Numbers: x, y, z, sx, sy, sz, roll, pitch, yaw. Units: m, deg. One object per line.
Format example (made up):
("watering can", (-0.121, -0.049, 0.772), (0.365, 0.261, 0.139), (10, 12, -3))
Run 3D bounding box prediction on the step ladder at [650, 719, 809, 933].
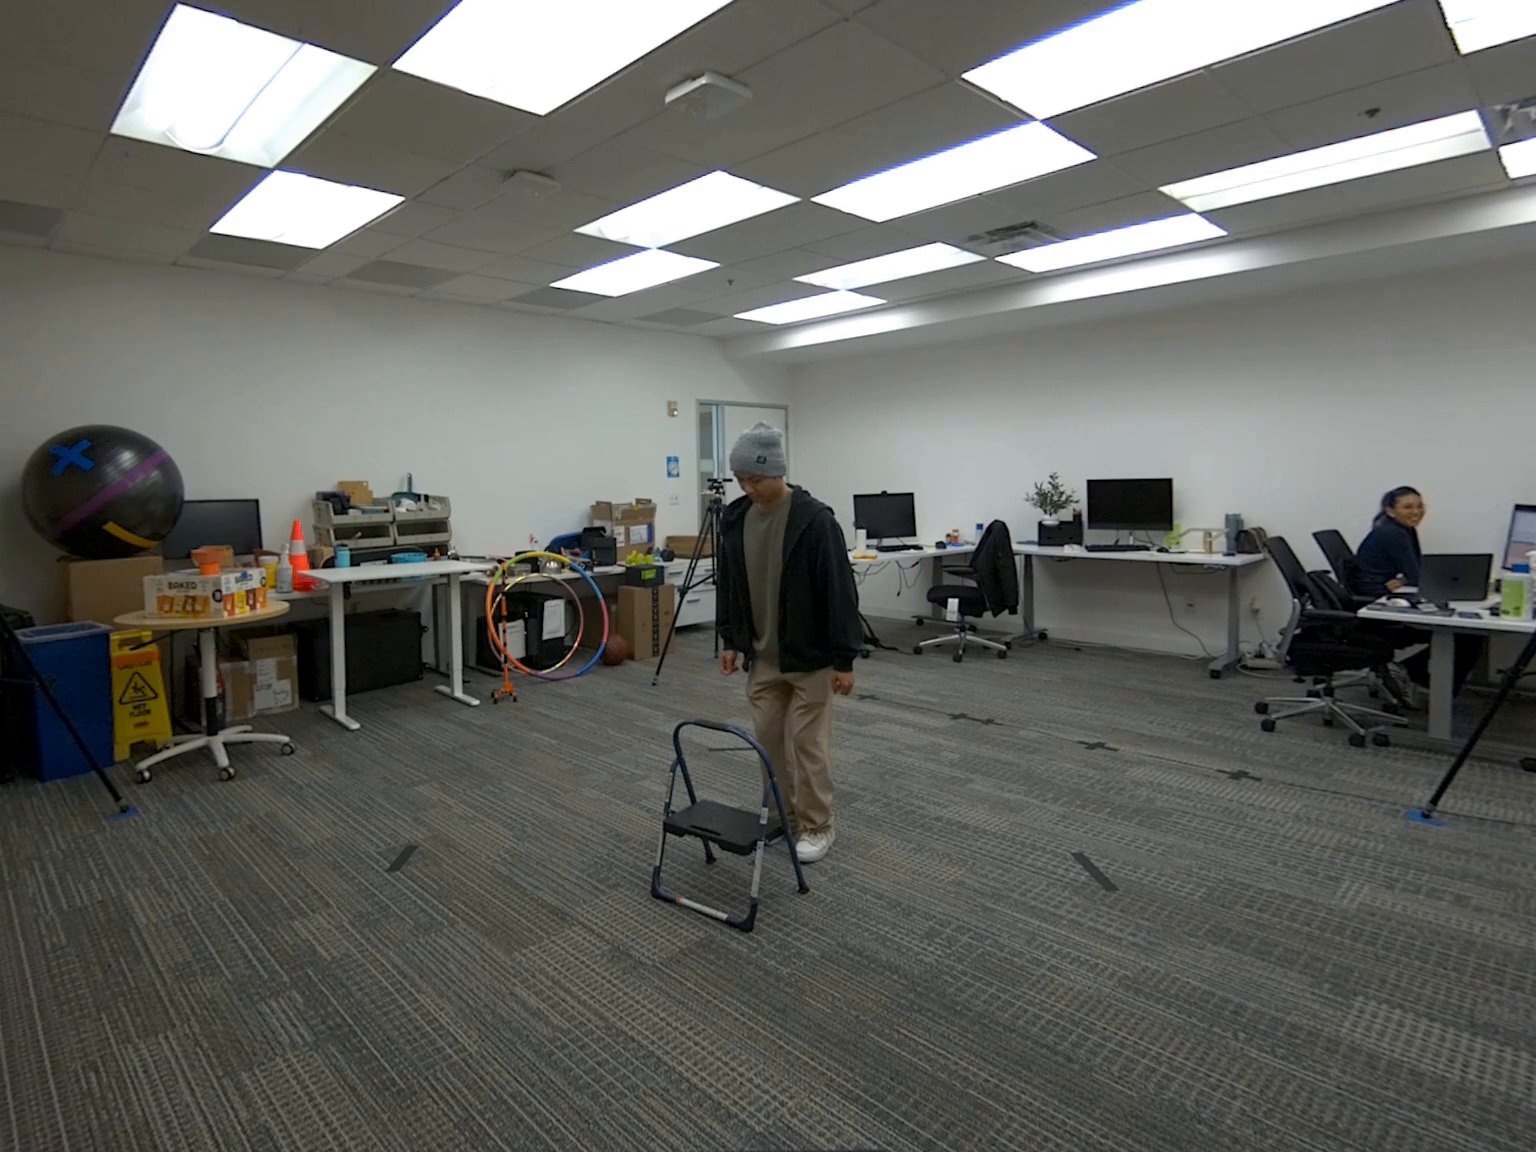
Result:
("step ladder", (-0.136, 0.771, 2.866), (0.443, 0.604, 0.341), (2, 5, 35))
